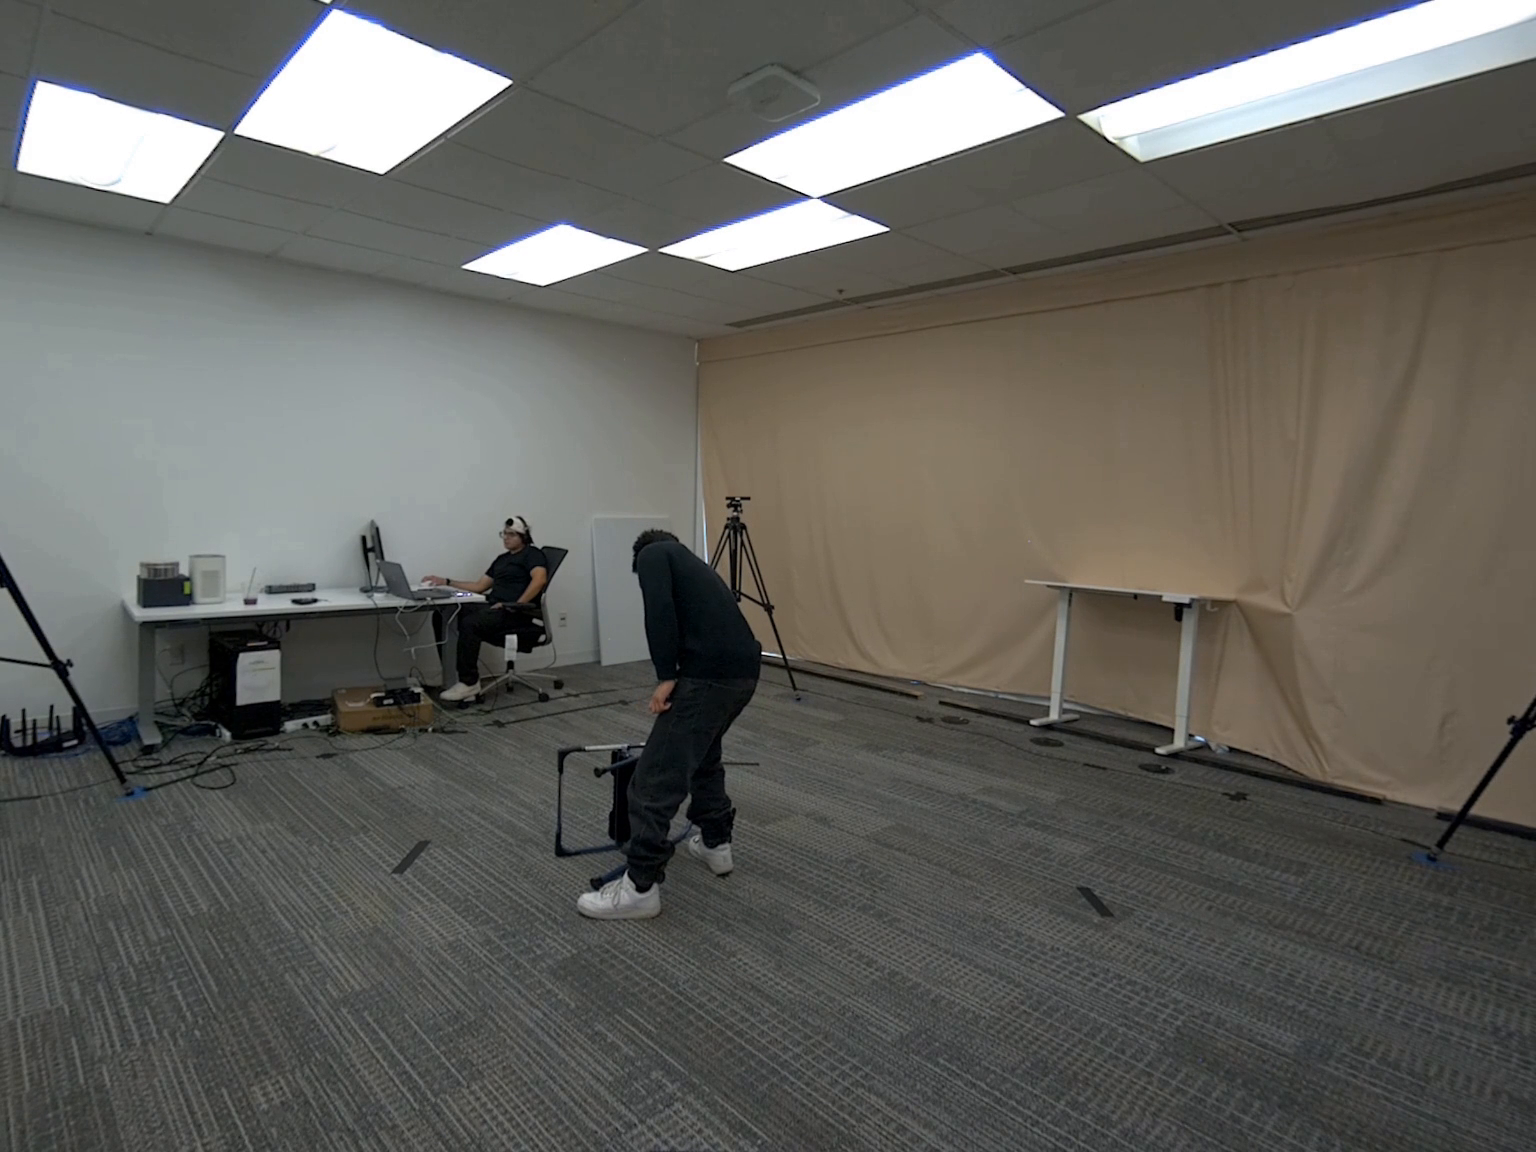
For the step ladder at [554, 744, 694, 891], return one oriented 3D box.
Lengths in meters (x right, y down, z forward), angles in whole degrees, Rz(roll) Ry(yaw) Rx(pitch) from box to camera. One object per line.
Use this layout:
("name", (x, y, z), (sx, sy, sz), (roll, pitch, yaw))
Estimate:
("step ladder", (-0.486, 0.875, 3.278), (0.592, 0.430, 0.358), (0, 3, -39))
